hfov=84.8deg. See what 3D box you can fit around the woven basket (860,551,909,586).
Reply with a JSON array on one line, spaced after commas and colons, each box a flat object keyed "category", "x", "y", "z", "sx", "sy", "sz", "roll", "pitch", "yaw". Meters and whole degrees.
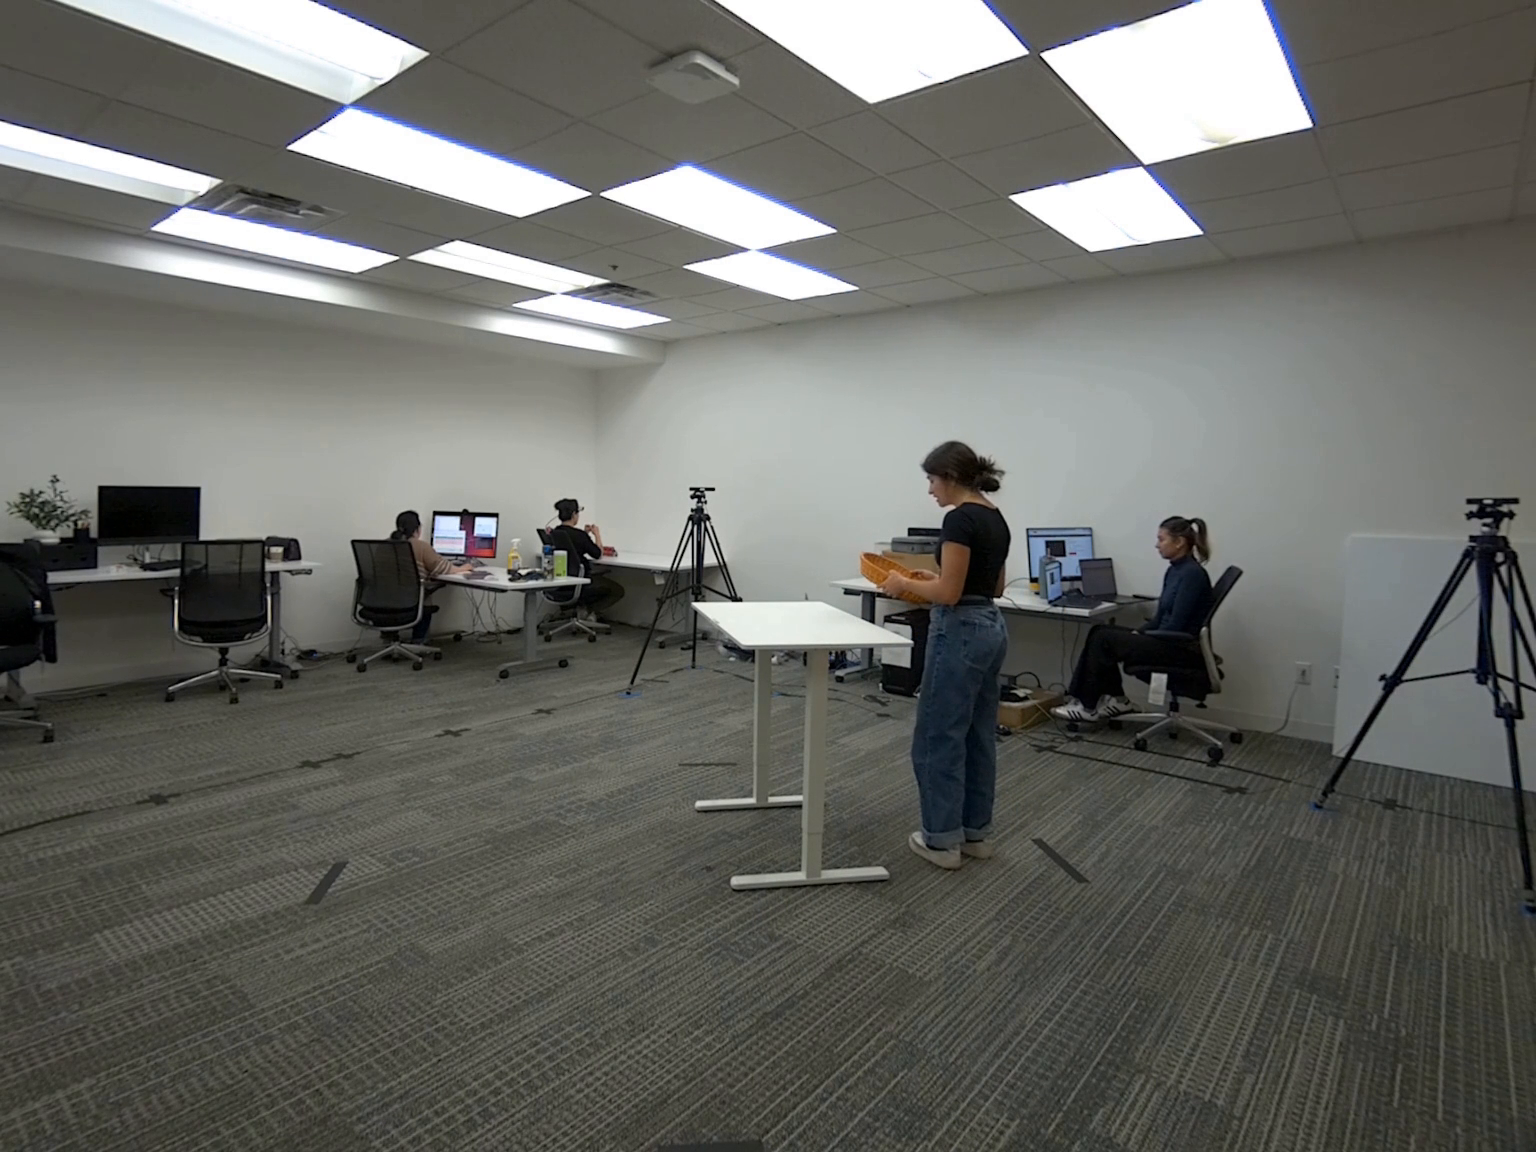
[{"category": "woven basket", "x": 0.508, "y": 0.018, "z": 3.428, "sx": 0.244, "sy": 0.073, "sz": 0.365, "roll": 2, "pitch": 27, "yaw": -47}]
